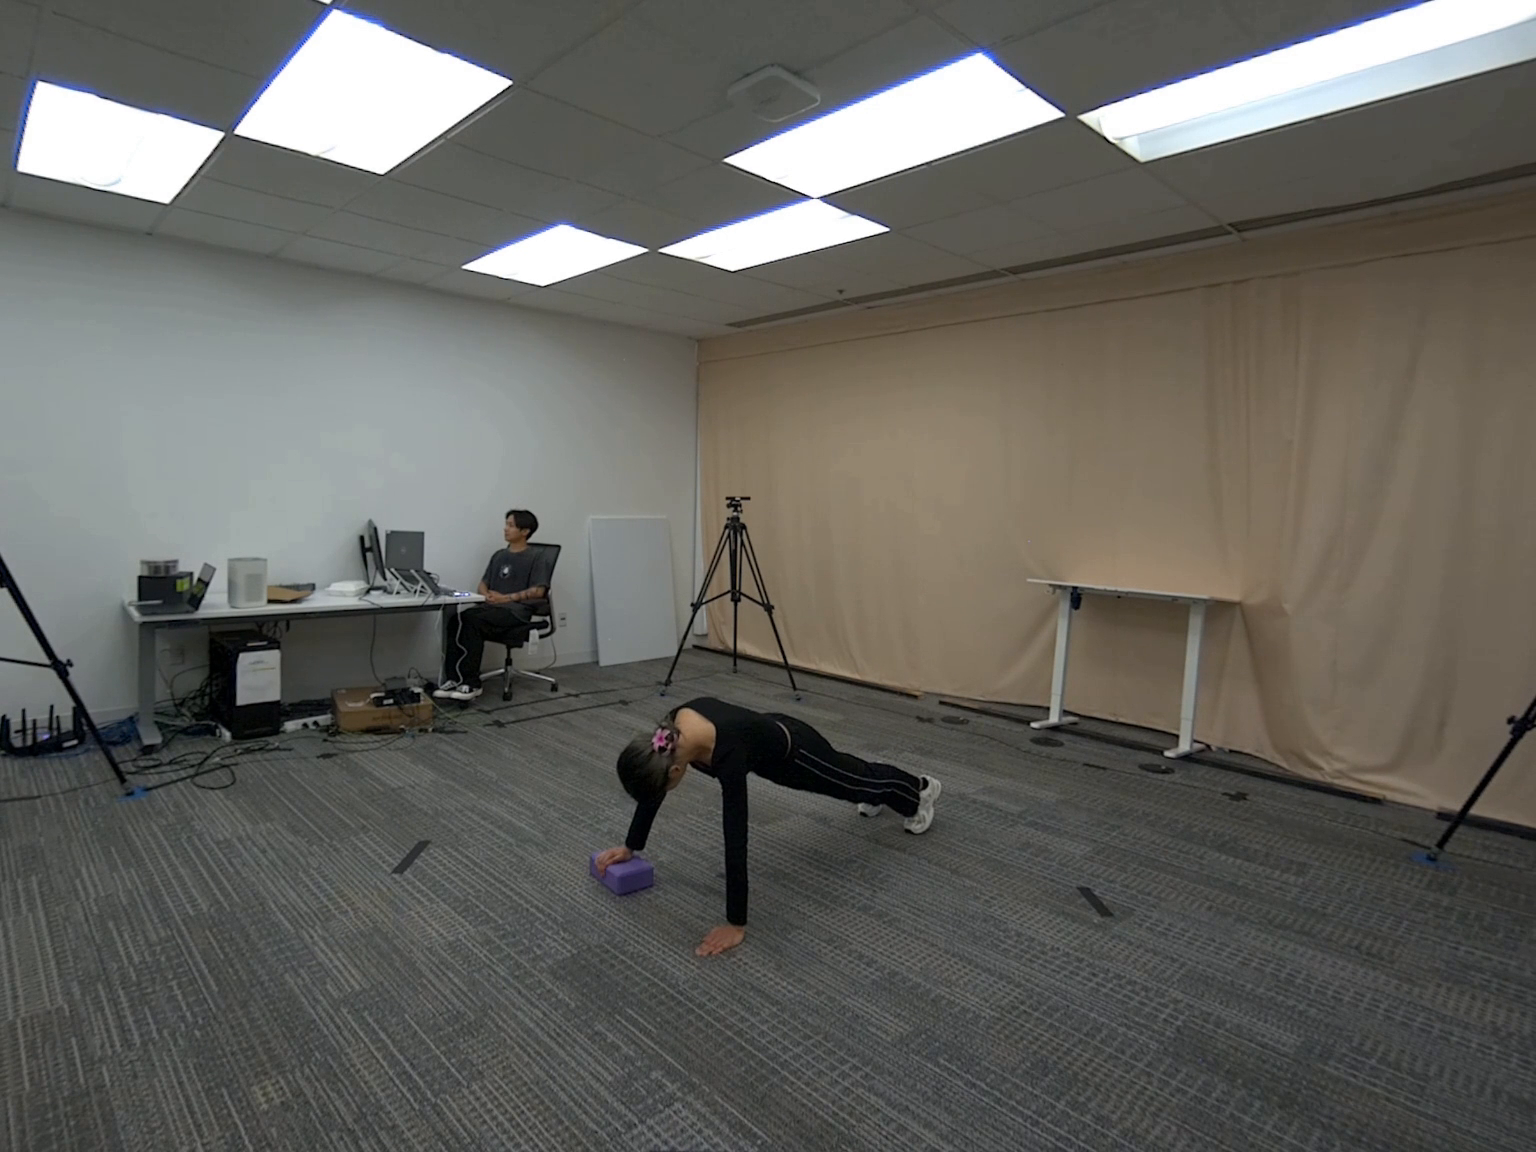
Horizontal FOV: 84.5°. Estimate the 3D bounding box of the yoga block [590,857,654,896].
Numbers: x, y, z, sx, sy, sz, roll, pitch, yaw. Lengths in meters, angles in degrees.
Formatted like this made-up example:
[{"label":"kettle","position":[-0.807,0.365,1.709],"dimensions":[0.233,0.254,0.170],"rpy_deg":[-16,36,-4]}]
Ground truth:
[{"label":"yoga block","position":[-0.536,1.067,3.050],"dimensions":[0.146,0.076,0.235],"rpy_deg":[-3,5,-37]}]
